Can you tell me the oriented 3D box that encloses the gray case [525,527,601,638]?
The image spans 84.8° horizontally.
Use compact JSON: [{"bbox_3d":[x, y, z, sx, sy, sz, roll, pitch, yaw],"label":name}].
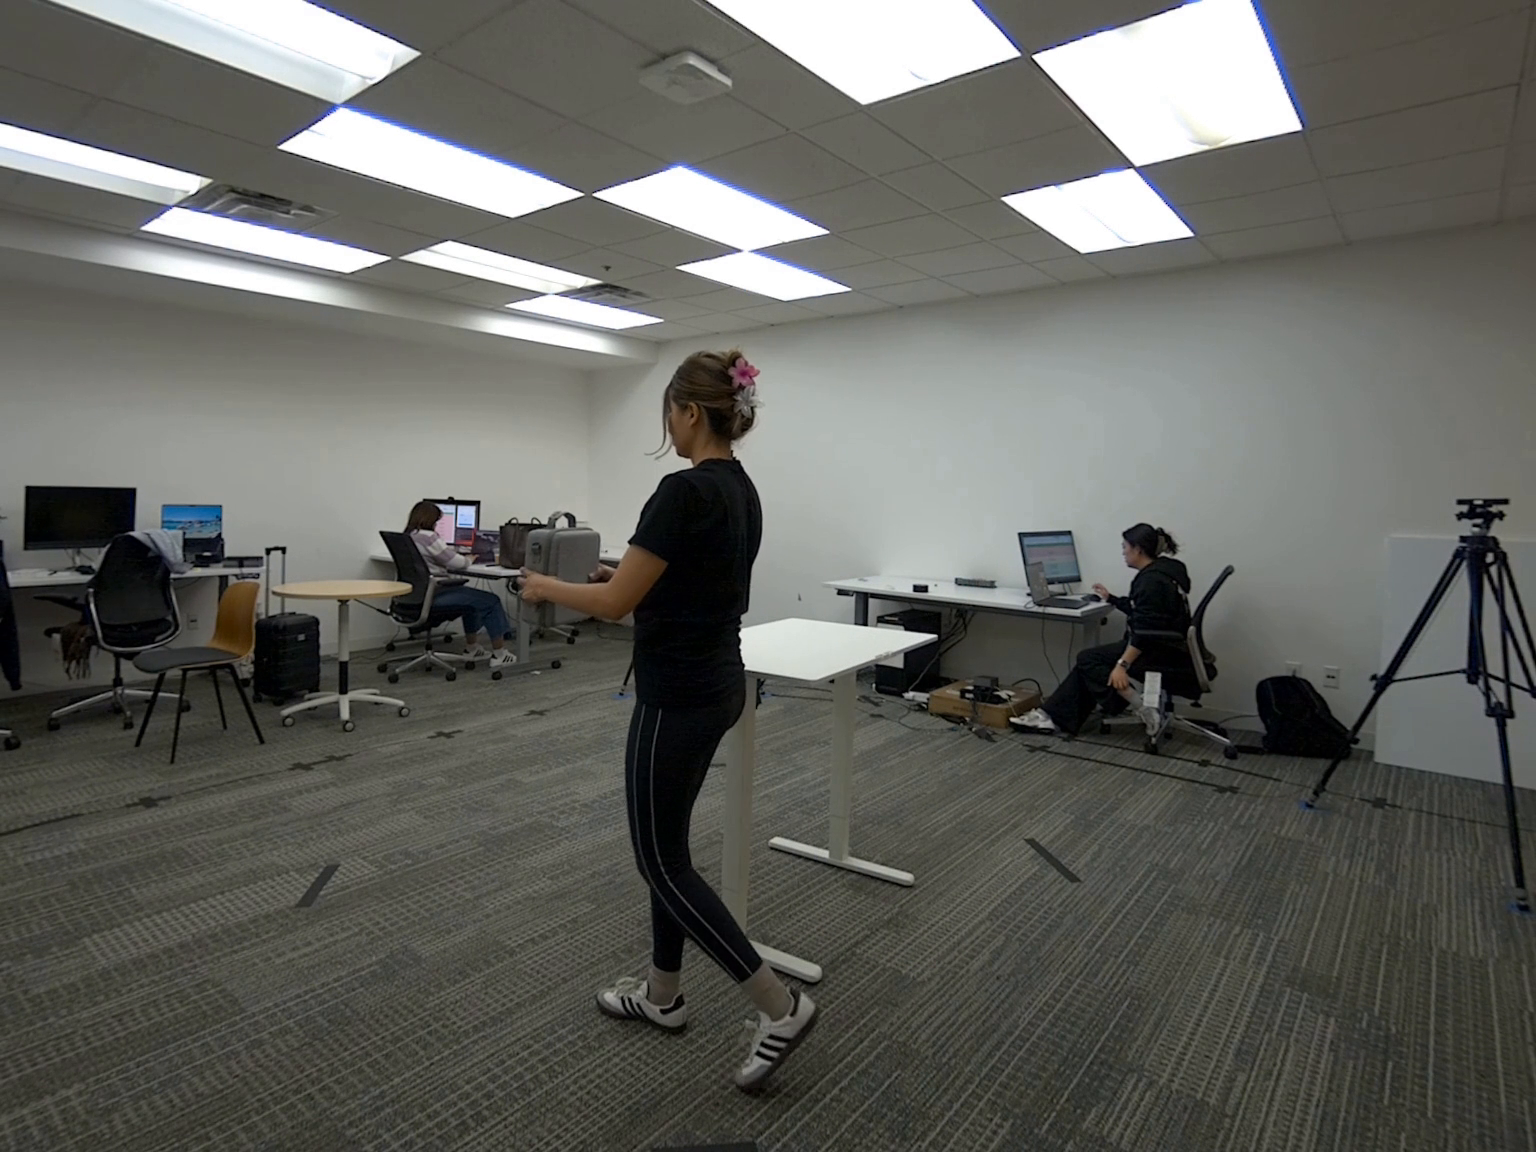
[{"bbox_3d":[-0.559,-0.006,2.276,0.106,0.260,0.252,5,3,16],"label":"gray case"}]
